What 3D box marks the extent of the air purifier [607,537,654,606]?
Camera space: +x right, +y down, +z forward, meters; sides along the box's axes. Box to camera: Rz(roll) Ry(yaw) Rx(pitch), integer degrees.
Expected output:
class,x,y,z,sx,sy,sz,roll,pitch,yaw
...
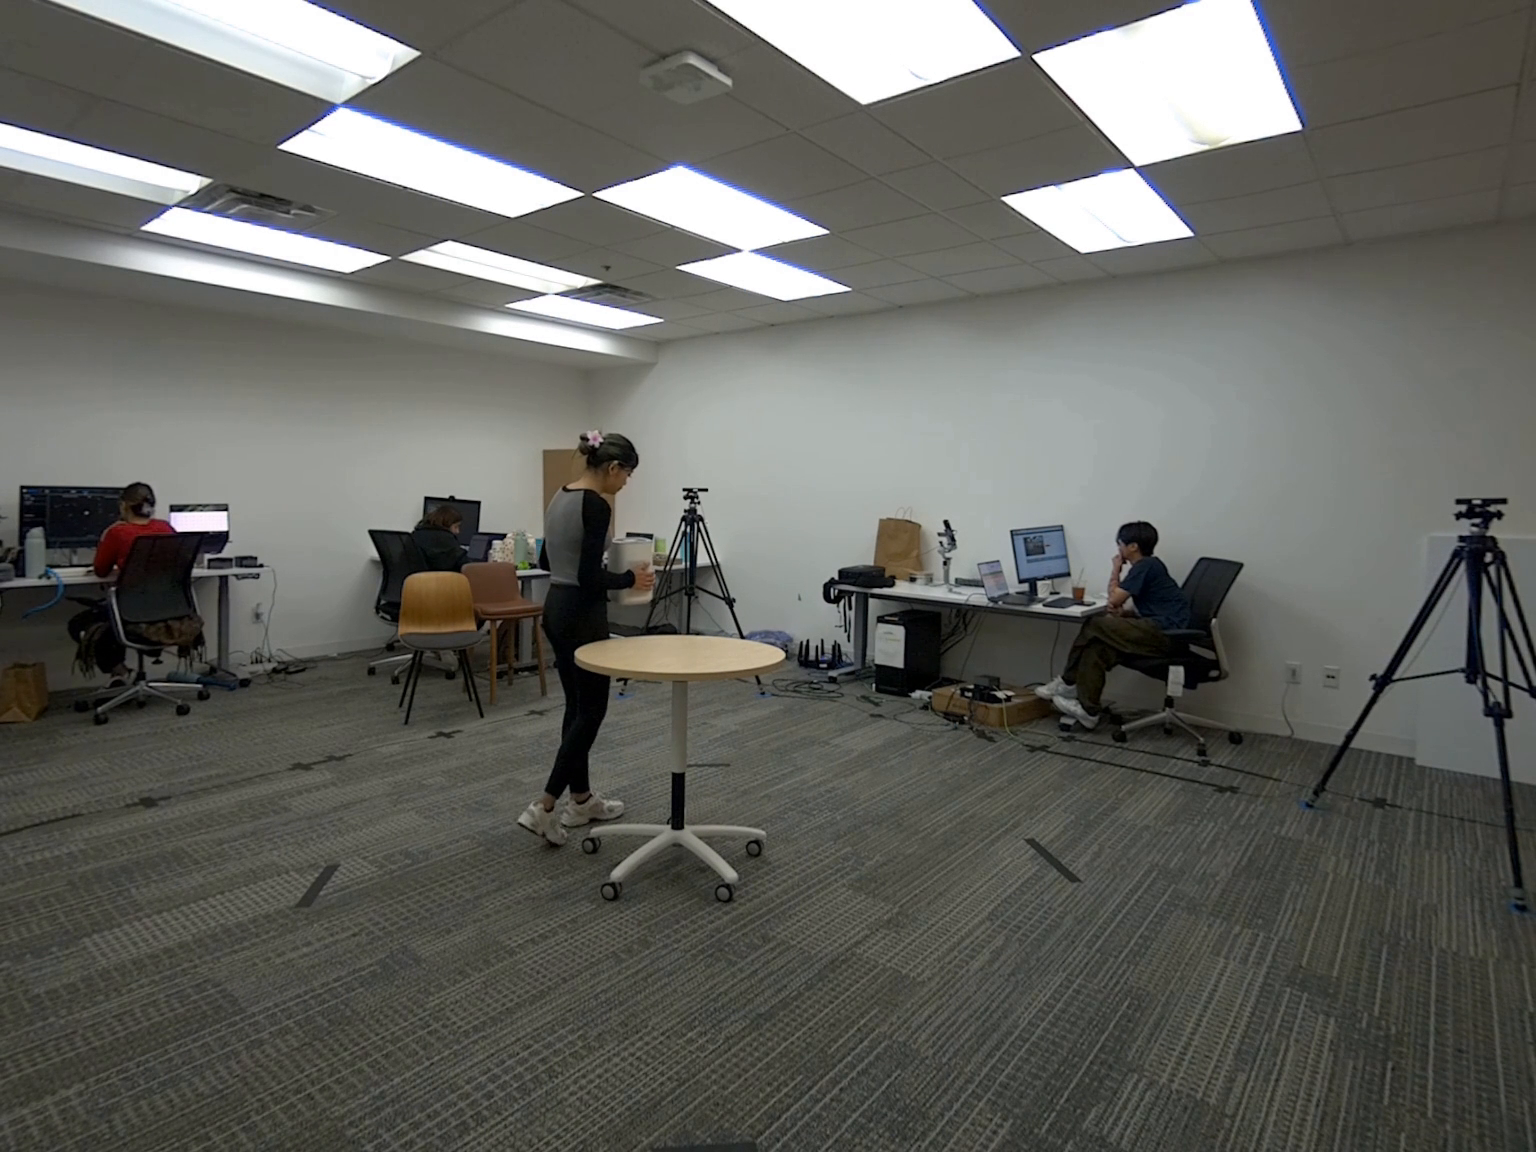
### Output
class,x,y,z,sx,sy,sz,roll,pitch,yaw
air purifier,-0.597,-0.024,3.577,0.168,0.263,0.176,-2,9,-16
